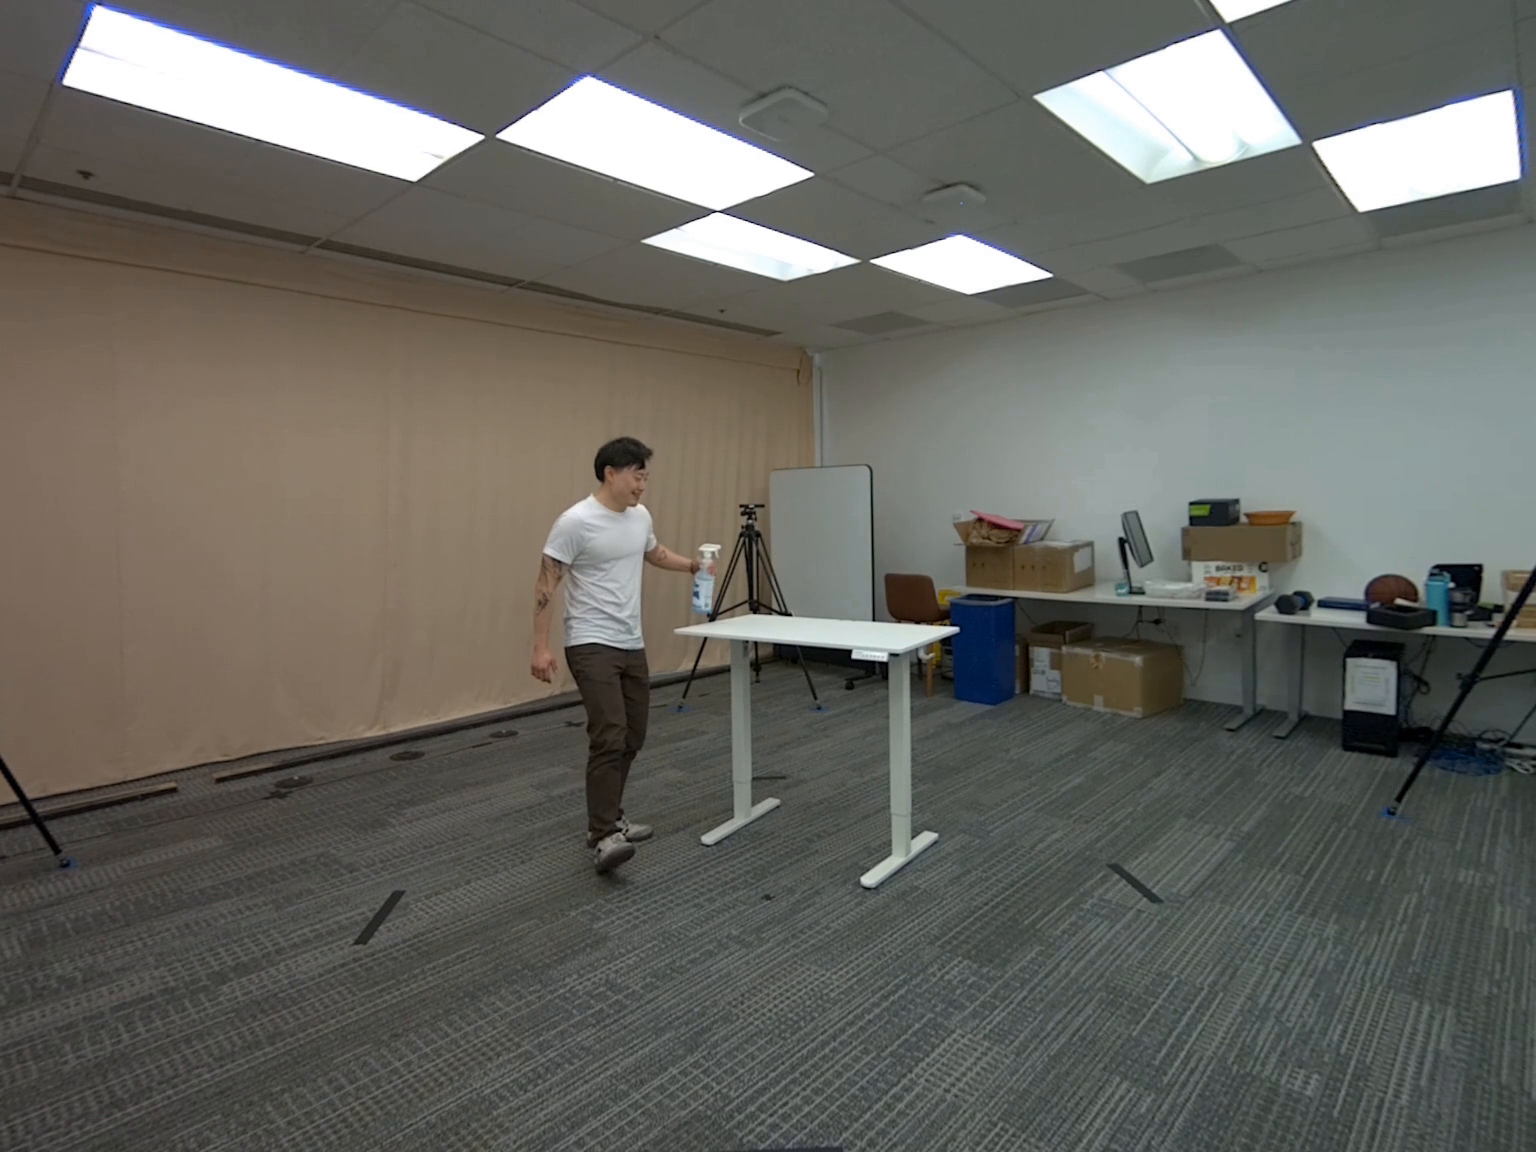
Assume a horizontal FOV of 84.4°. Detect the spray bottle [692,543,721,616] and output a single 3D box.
[{"bbox_3d":[-0.279,0.022,3.632,0.093,0.296,0.085,13,11,26],"label":"spray bottle"}]
